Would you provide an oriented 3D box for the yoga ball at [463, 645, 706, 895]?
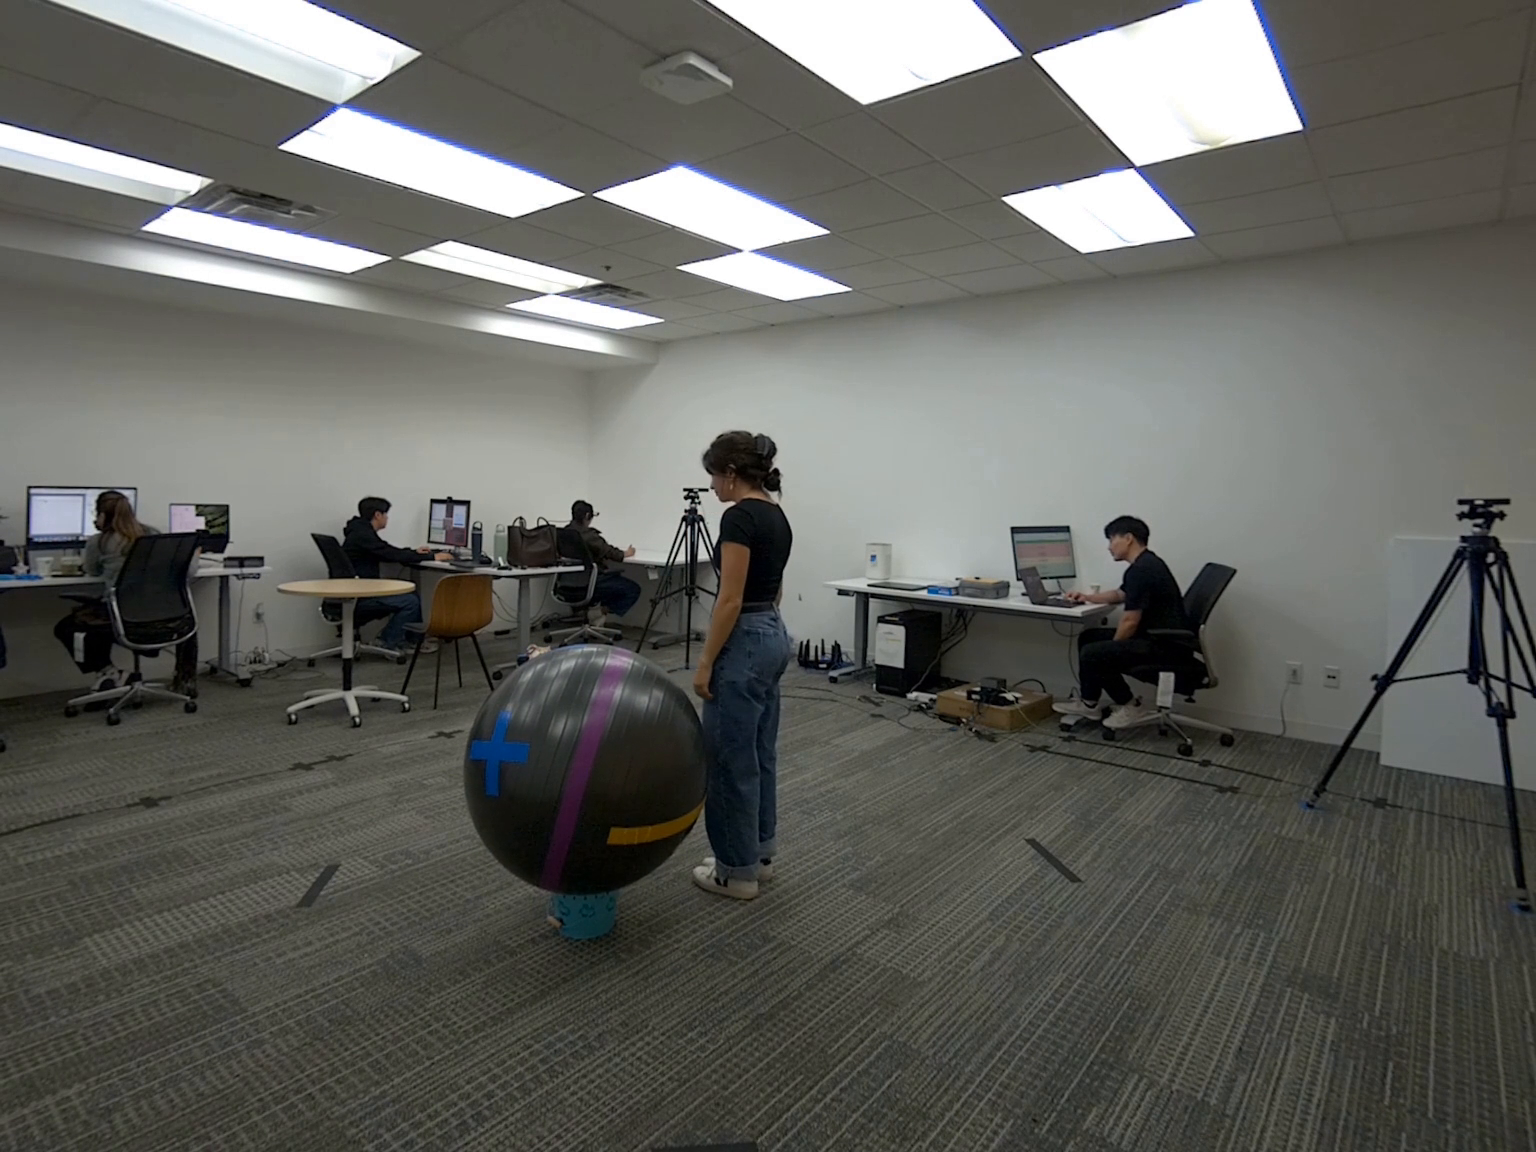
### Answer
[{"bbox_3d":[-0.579,0.595,2.675,0.757,0.755,0.762,1,4,-2],"label":"yoga ball"}]
